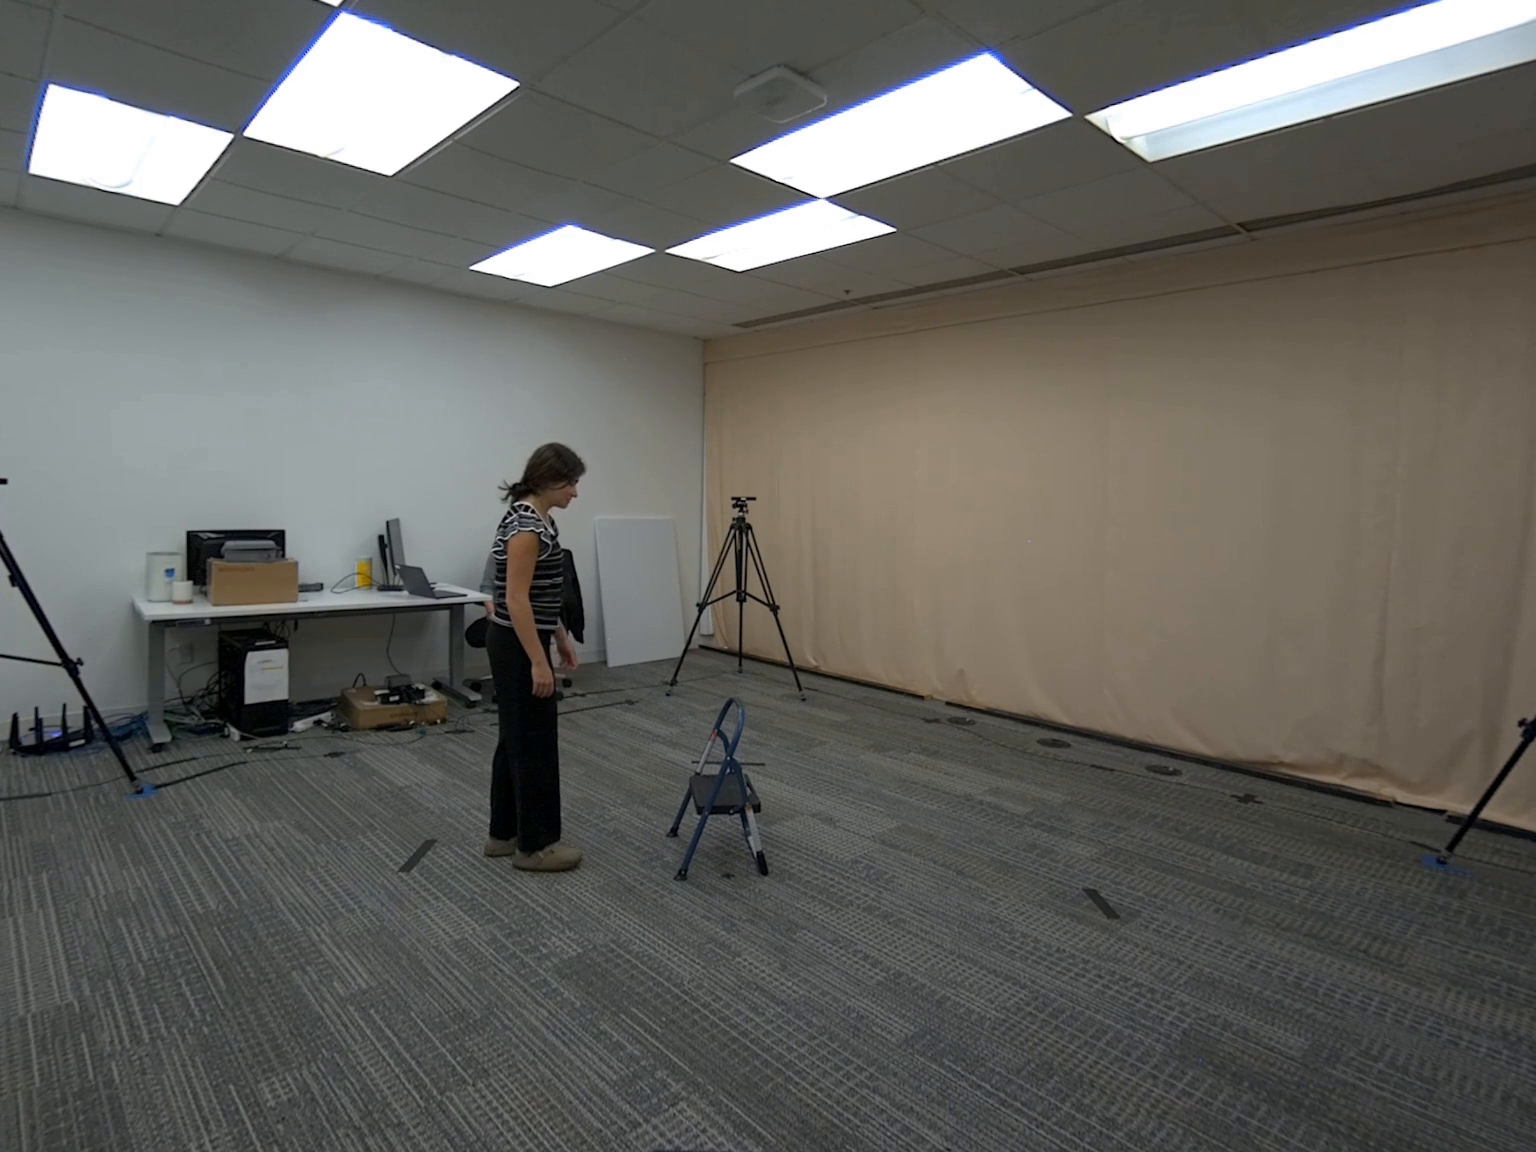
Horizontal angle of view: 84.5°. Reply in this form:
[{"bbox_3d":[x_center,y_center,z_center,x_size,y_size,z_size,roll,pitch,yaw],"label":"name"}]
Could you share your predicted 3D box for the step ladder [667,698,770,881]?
[{"bbox_3d":[-0.204,0.791,3.274,0.346,0.604,0.435,0,4,-10],"label":"step ladder"}]
